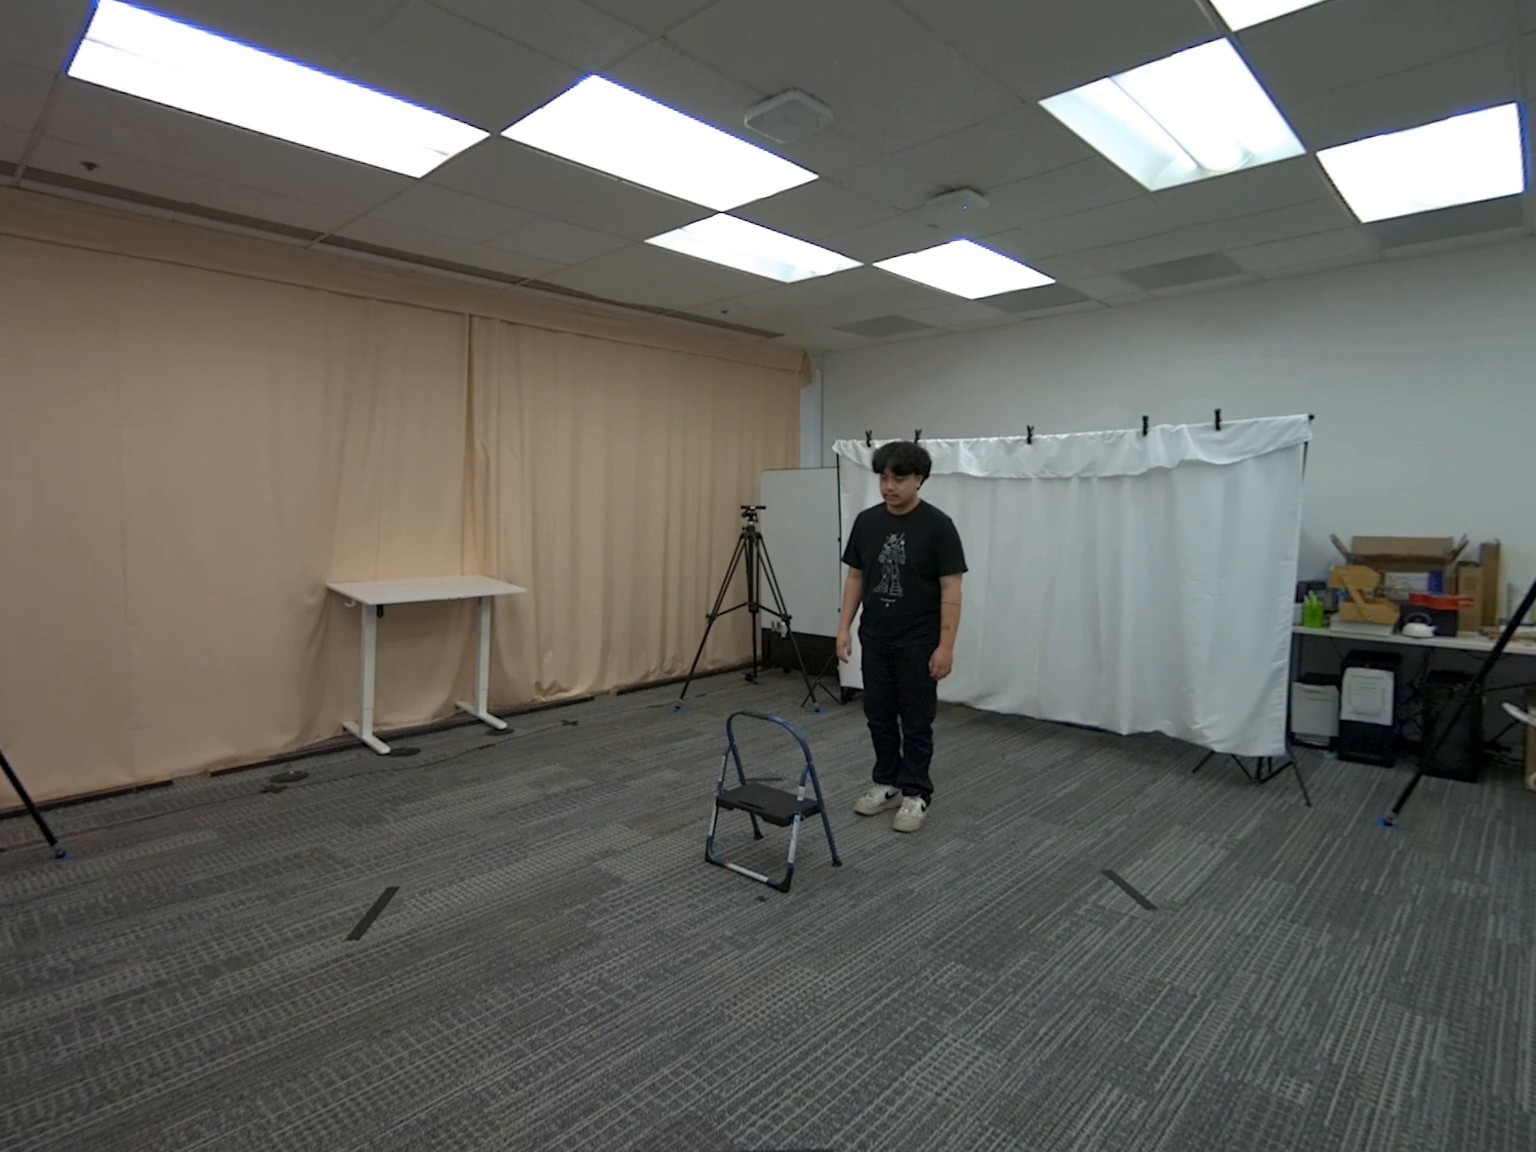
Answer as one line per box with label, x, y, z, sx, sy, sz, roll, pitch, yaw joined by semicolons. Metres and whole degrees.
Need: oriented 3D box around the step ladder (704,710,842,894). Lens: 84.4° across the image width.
step ladder;0.016;0.815;3.269;0.445;0.605;0.338;2;4;41
